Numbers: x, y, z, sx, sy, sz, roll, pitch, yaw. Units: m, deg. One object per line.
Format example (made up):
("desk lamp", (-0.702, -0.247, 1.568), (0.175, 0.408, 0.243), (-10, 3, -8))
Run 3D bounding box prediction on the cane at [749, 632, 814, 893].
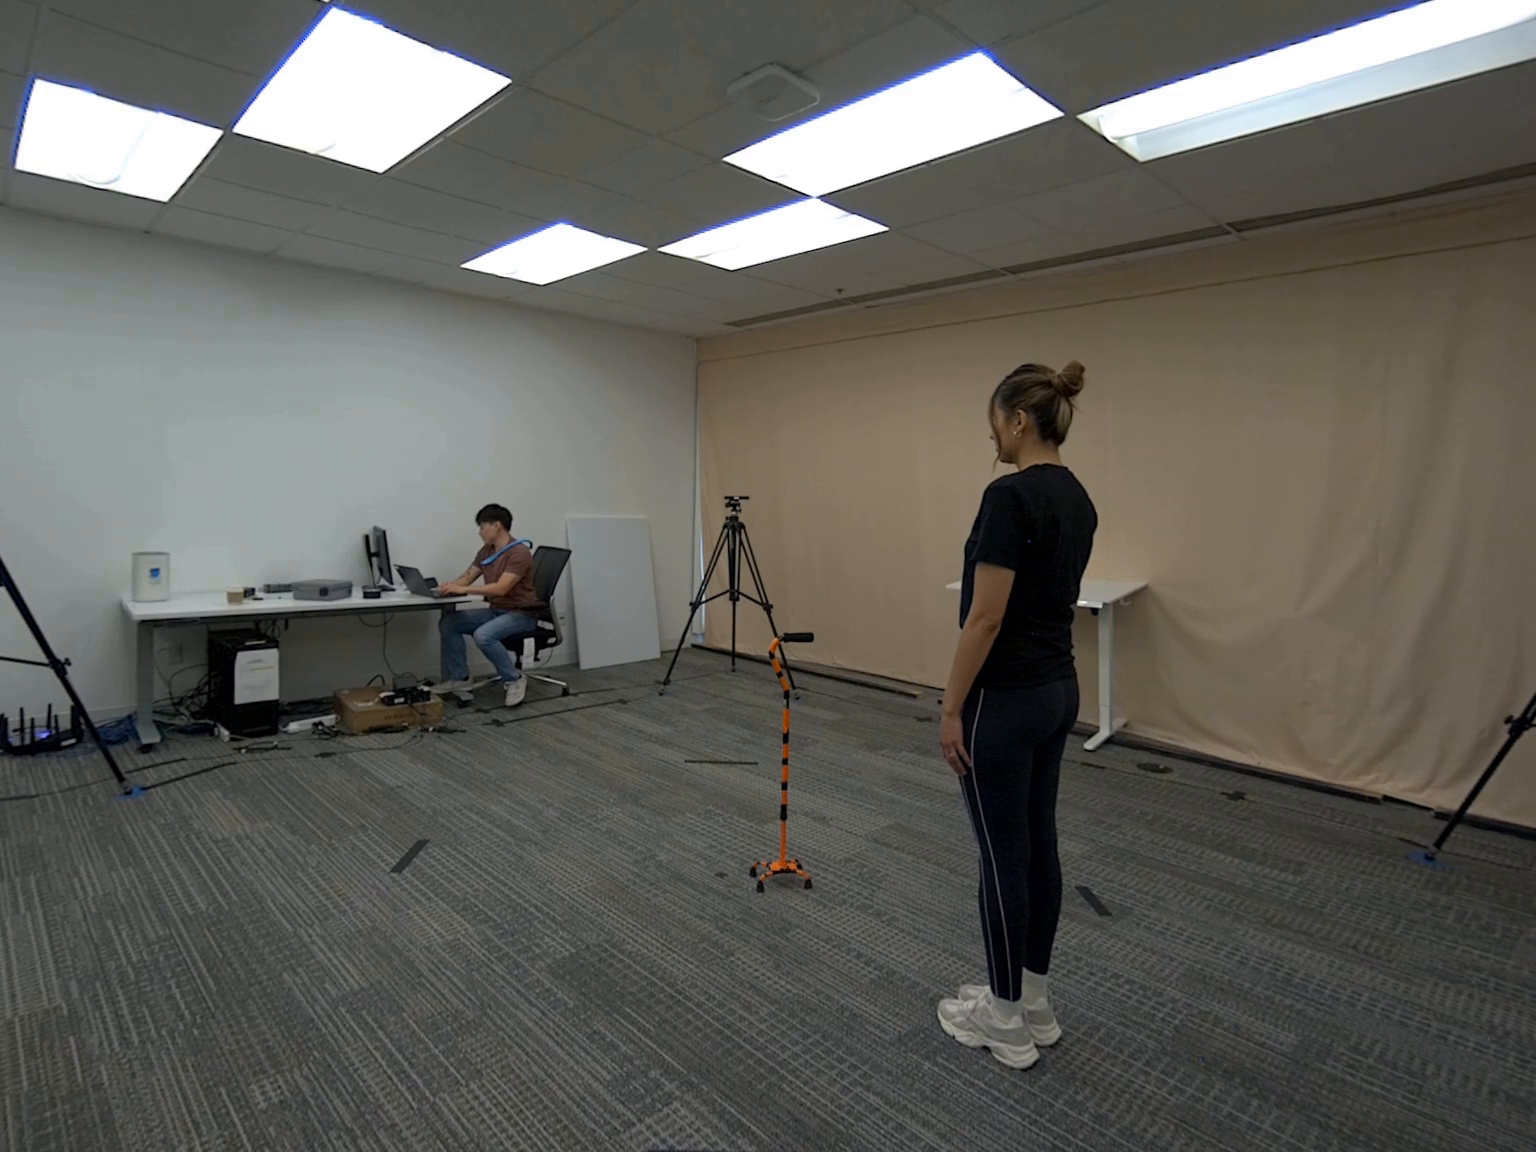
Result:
("cane", (0.052, 0.661, 3.033), (0.204, 0.906, 0.153), (1, 3, -13))
